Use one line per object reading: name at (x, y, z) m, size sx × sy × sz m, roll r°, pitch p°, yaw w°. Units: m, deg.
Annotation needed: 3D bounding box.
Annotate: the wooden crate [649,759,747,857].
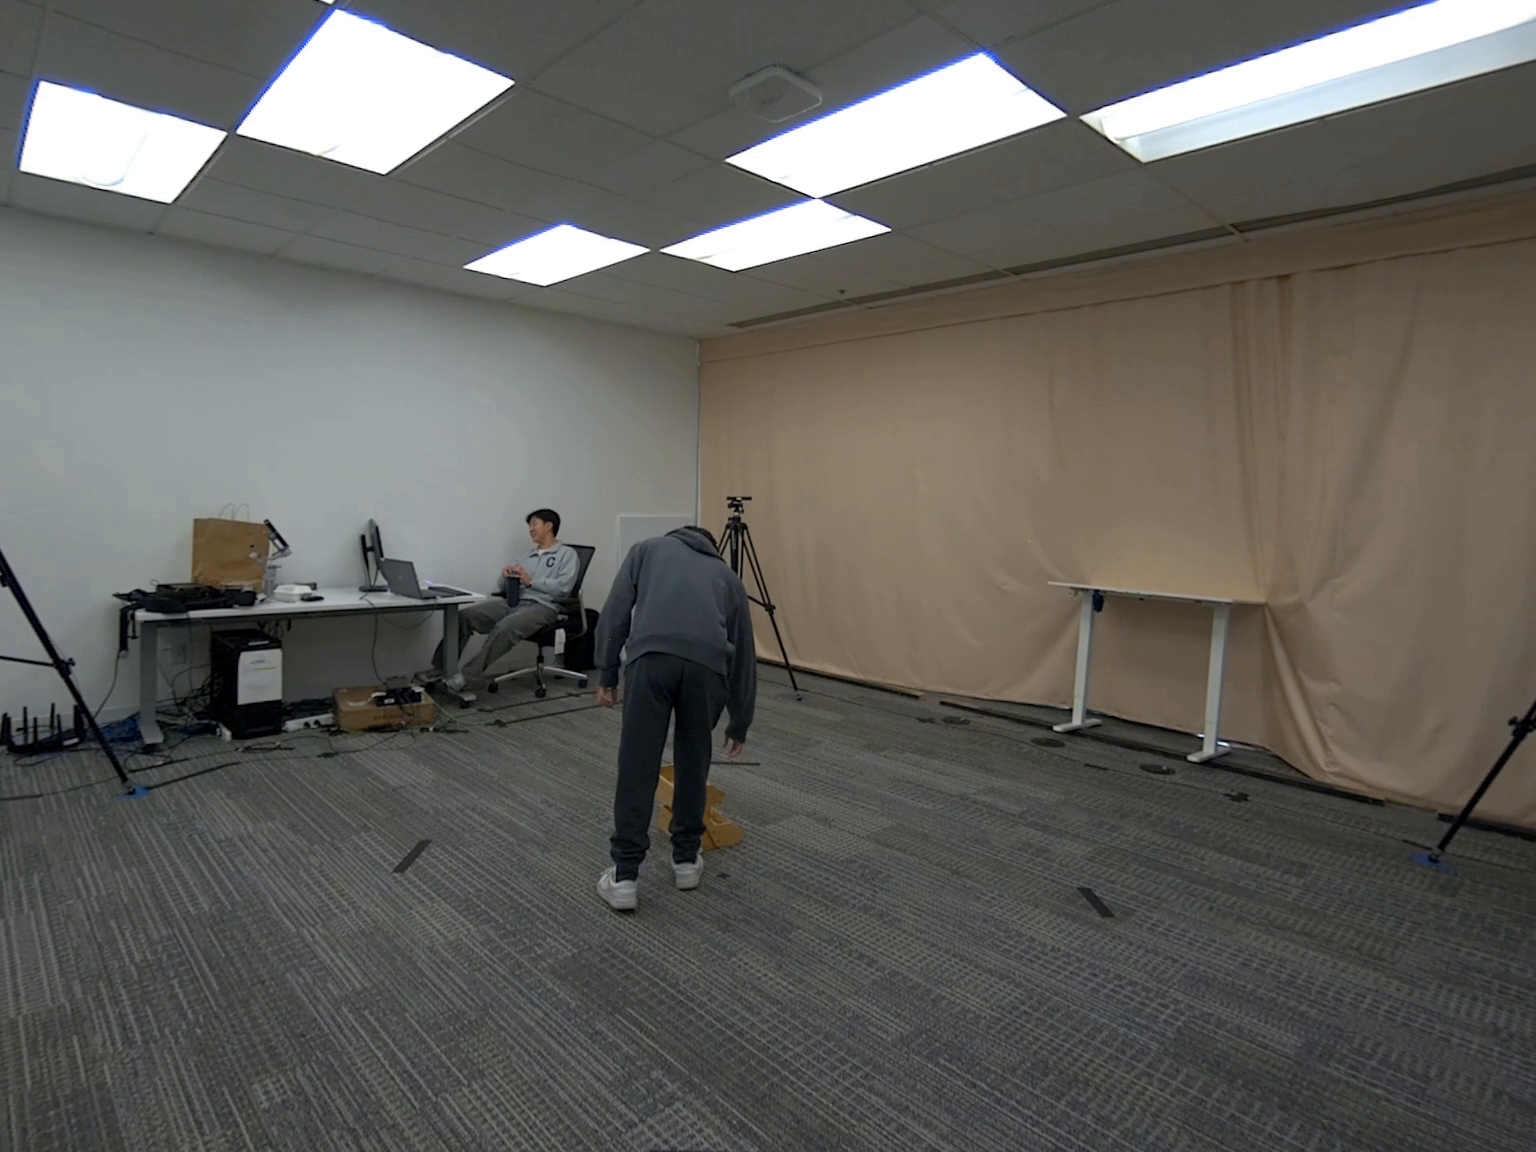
wooden crate at (-0.303, 0.940, 3.463) m, size 0.296 × 0.272 × 0.332 m, roll -1°, pitch 5°, yaw -30°
